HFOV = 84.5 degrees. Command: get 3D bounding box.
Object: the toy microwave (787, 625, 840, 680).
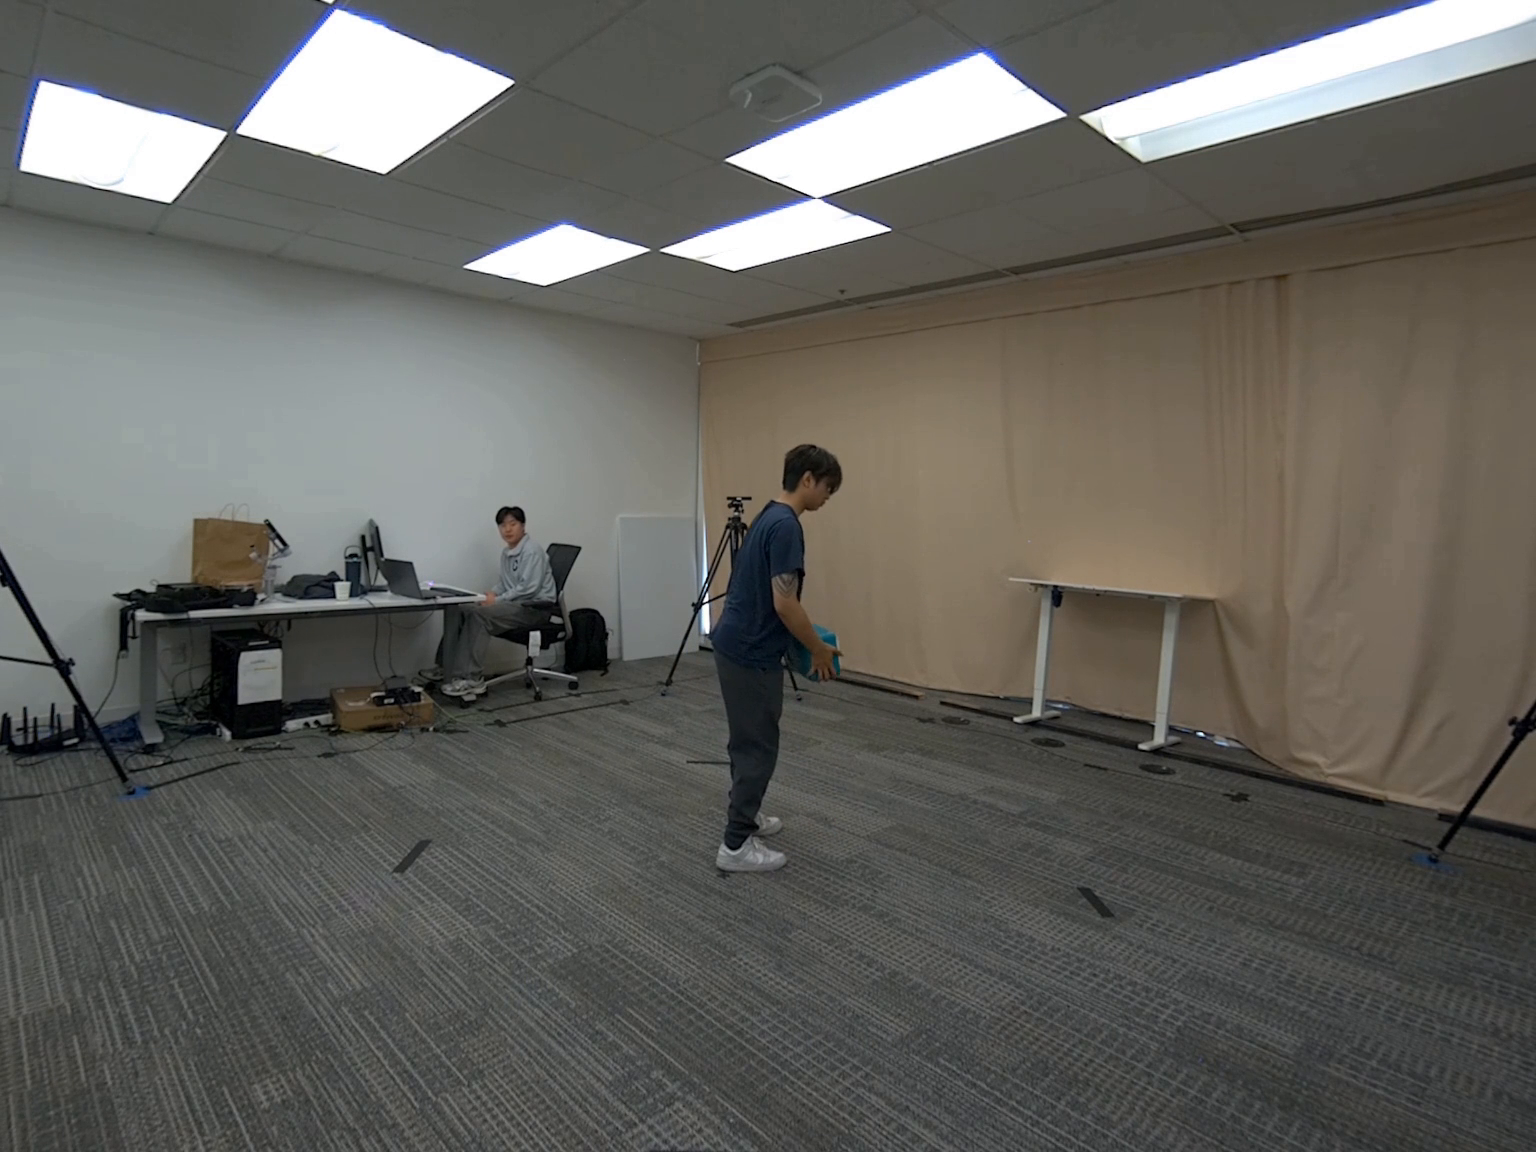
[{"bbox_3d":[0.177,0.304,3.388,0.151,0.183,0.290,-9,8,-14],"label":"toy microwave"}]
